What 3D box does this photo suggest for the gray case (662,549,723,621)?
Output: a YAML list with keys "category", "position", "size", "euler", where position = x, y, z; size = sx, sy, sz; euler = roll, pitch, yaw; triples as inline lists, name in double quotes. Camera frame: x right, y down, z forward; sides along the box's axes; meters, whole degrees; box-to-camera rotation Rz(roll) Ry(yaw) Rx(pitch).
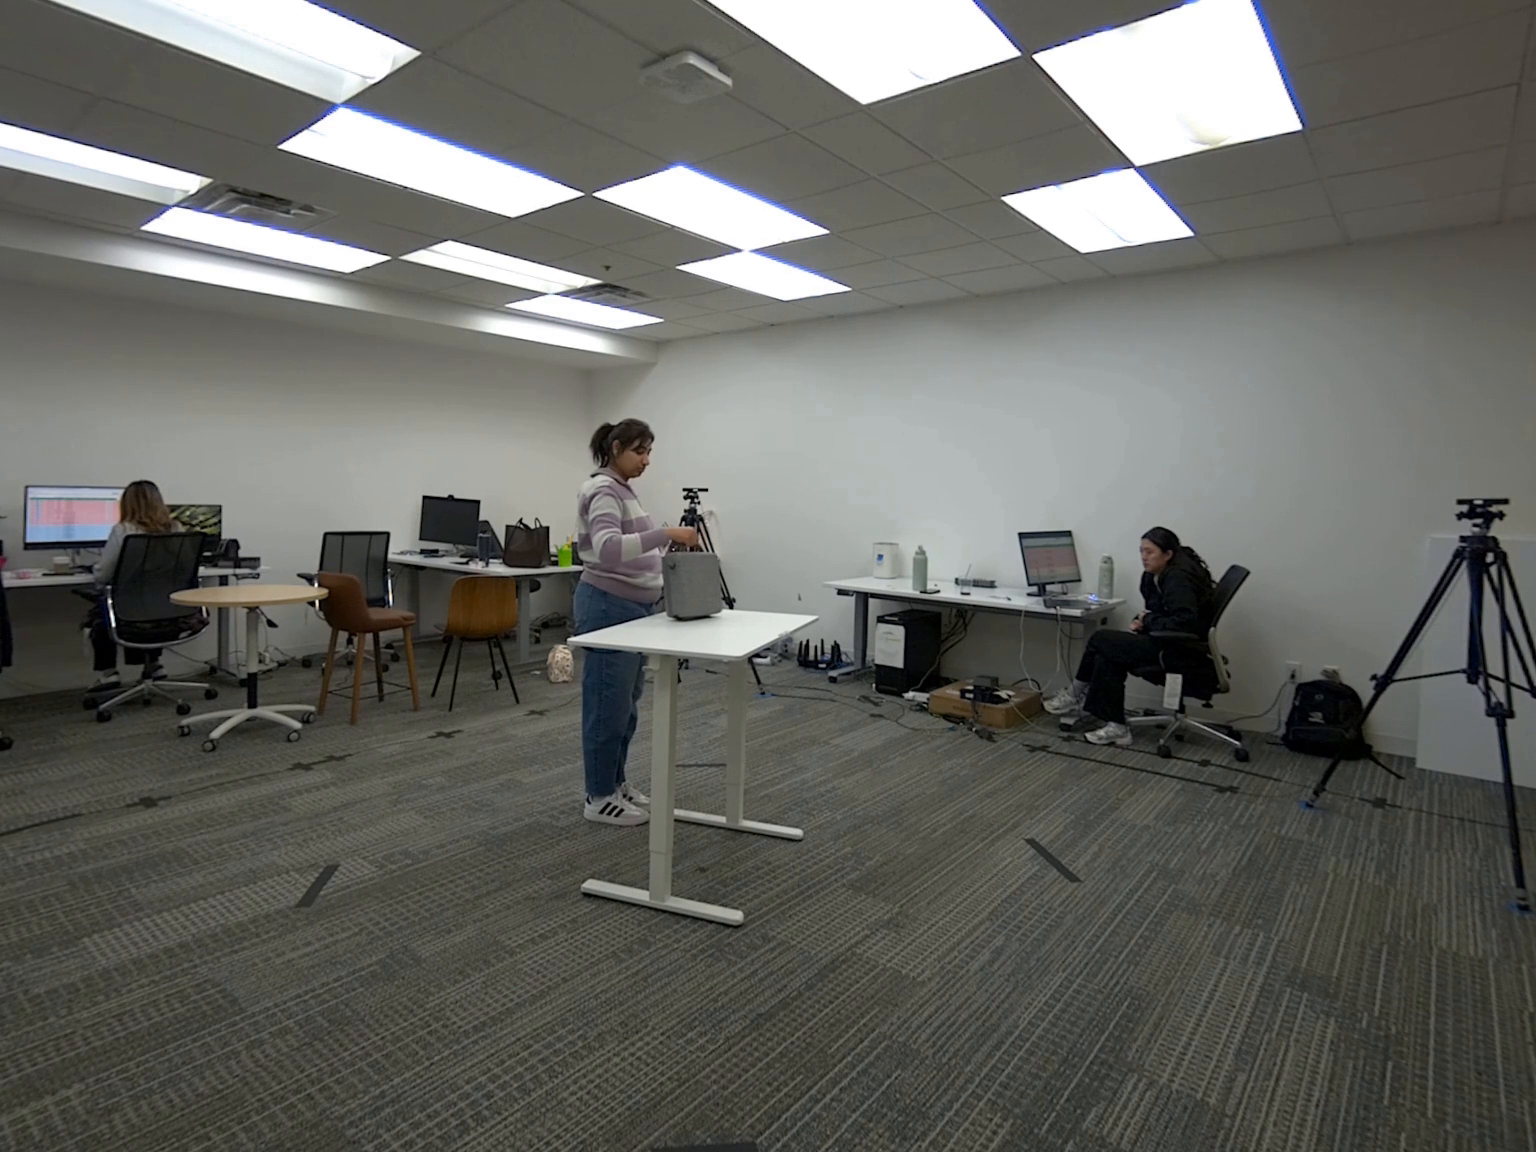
- category: "gray case"
  position: [-0.303, 0.027, 3.342]
  size: [0.107, 0.261, 0.249]
  euler: [-7, -3, 37]
